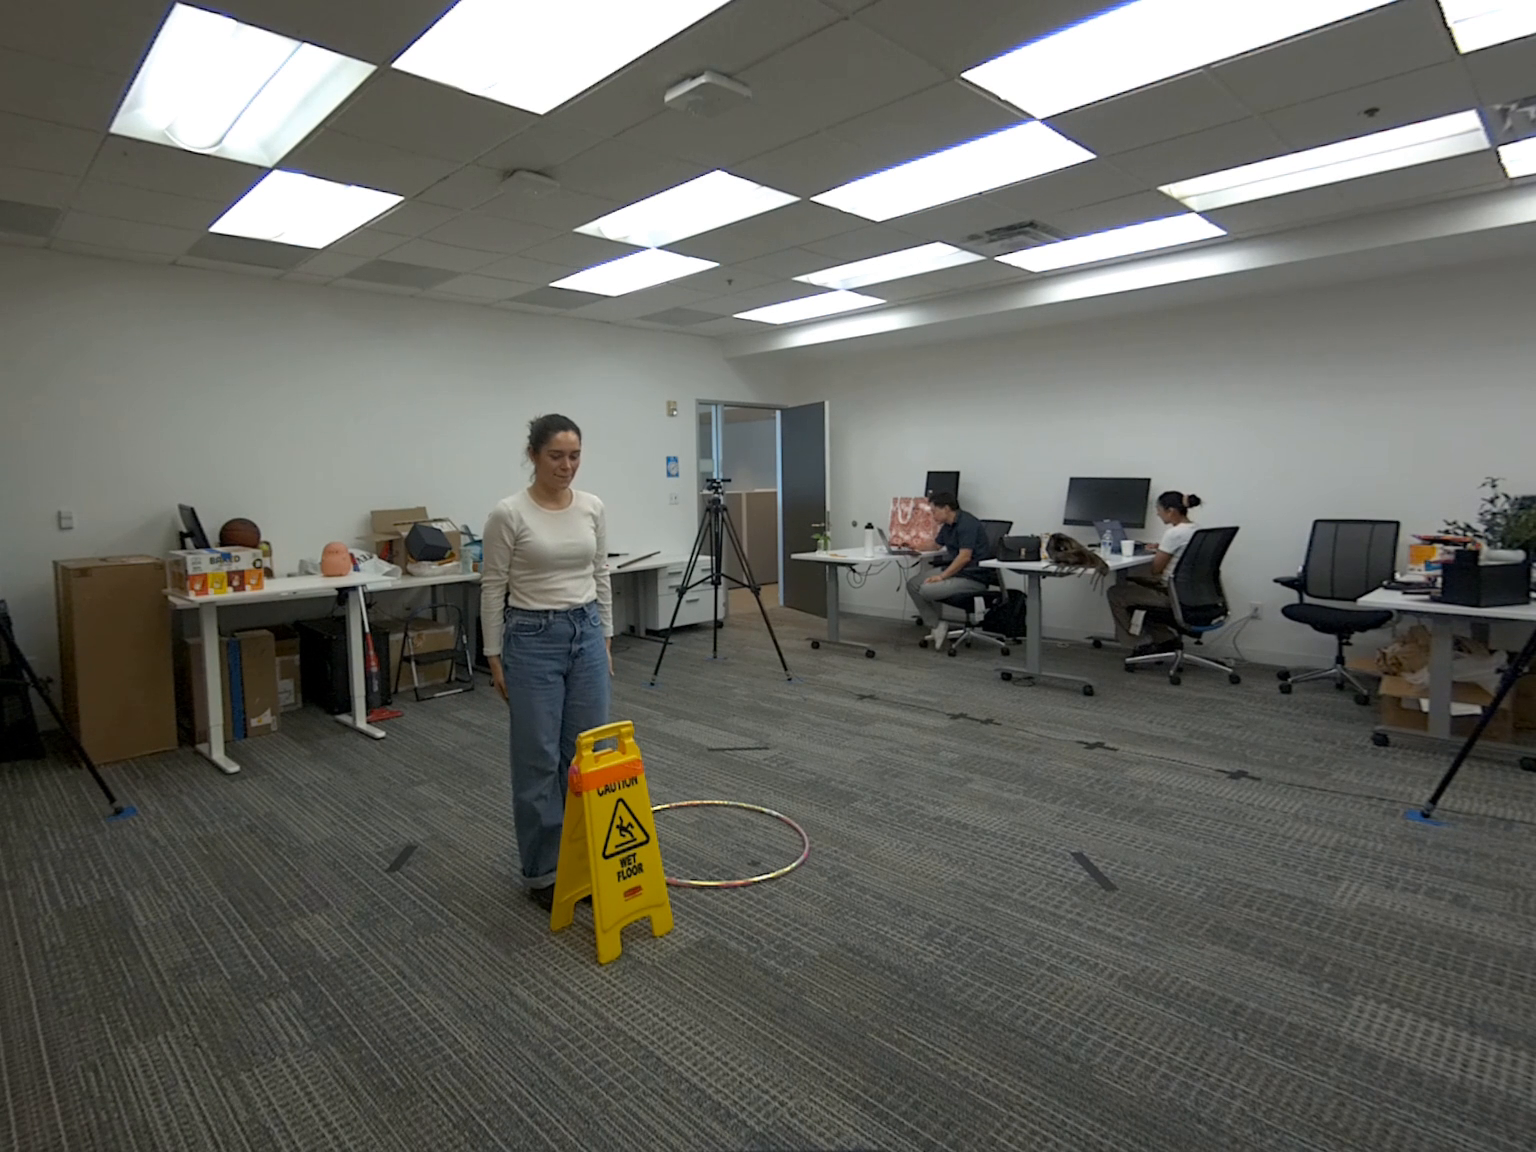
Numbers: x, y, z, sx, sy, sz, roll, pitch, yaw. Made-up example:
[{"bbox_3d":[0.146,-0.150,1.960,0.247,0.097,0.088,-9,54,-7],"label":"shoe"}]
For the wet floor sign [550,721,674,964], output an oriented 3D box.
[{"bbox_3d":[-0.488,0.783,2.642,0.275,0.643,0.299,-6,7,-44],"label":"wet floor sign"}]
